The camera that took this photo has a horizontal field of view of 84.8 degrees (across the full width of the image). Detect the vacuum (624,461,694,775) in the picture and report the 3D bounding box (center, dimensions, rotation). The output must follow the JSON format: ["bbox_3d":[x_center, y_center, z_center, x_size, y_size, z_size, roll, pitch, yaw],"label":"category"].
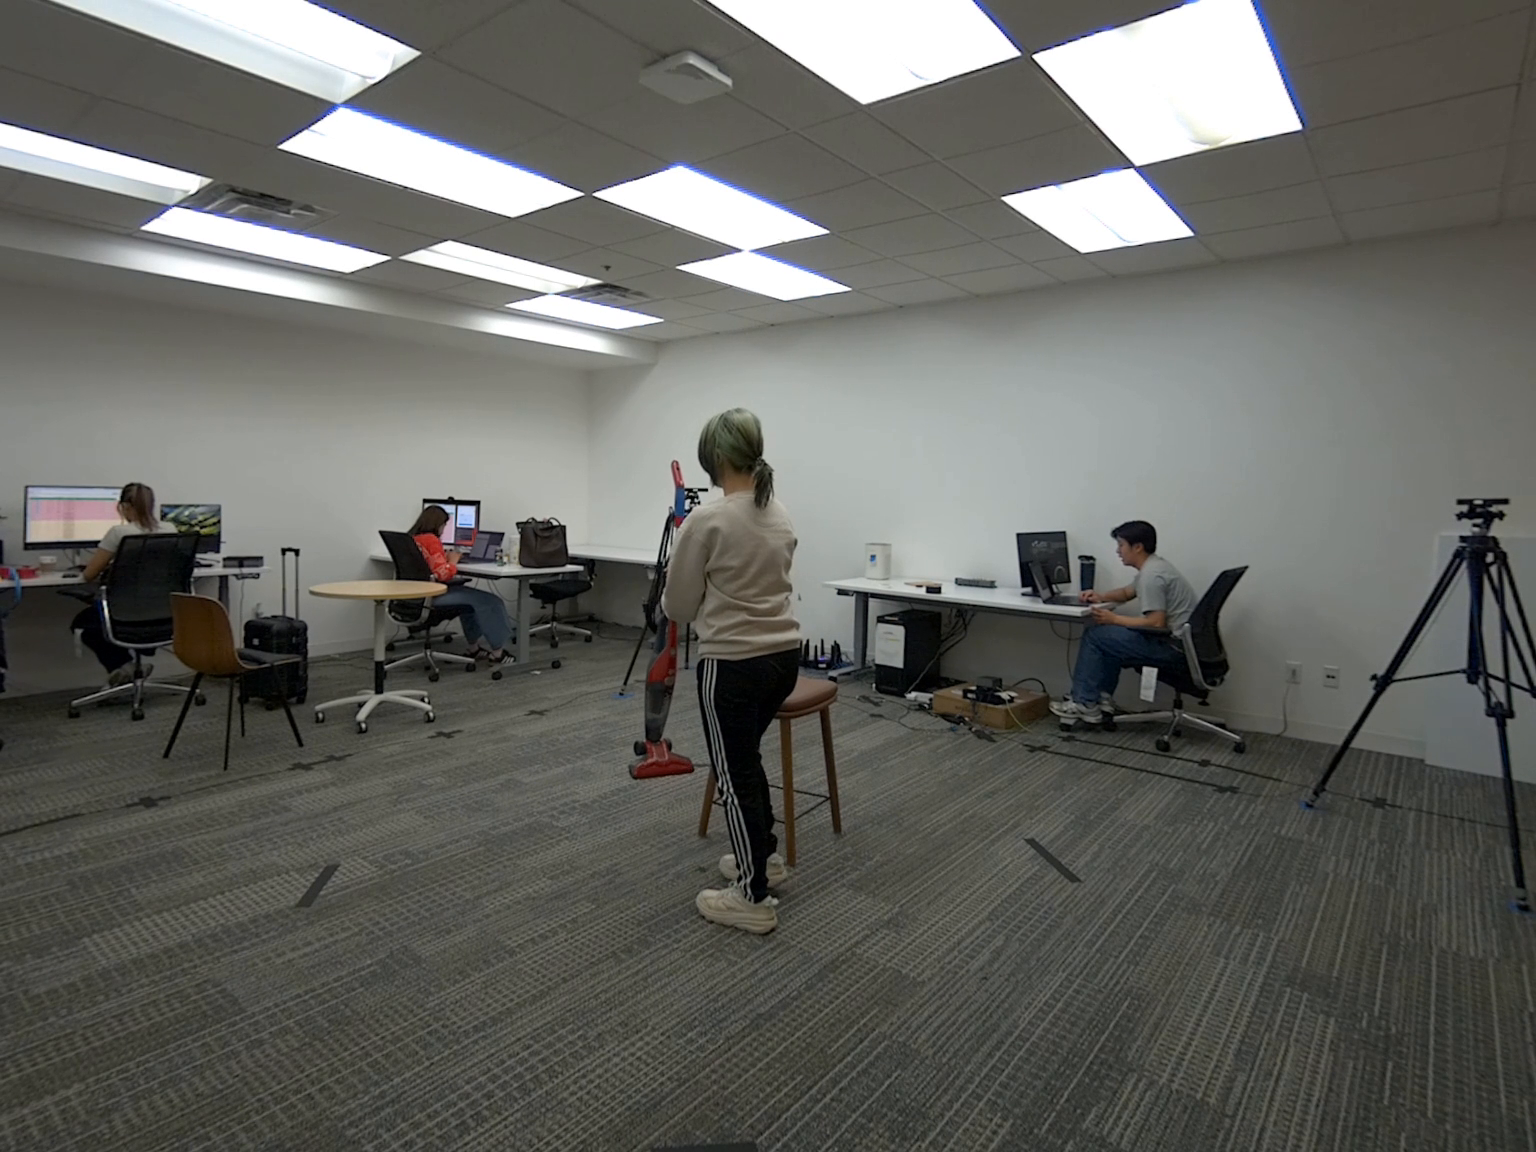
[{"bbox_3d":[-0.375,0.123,3.017,0.245,1.051,0.148,1,-2,-37],"label":"vacuum"}]
